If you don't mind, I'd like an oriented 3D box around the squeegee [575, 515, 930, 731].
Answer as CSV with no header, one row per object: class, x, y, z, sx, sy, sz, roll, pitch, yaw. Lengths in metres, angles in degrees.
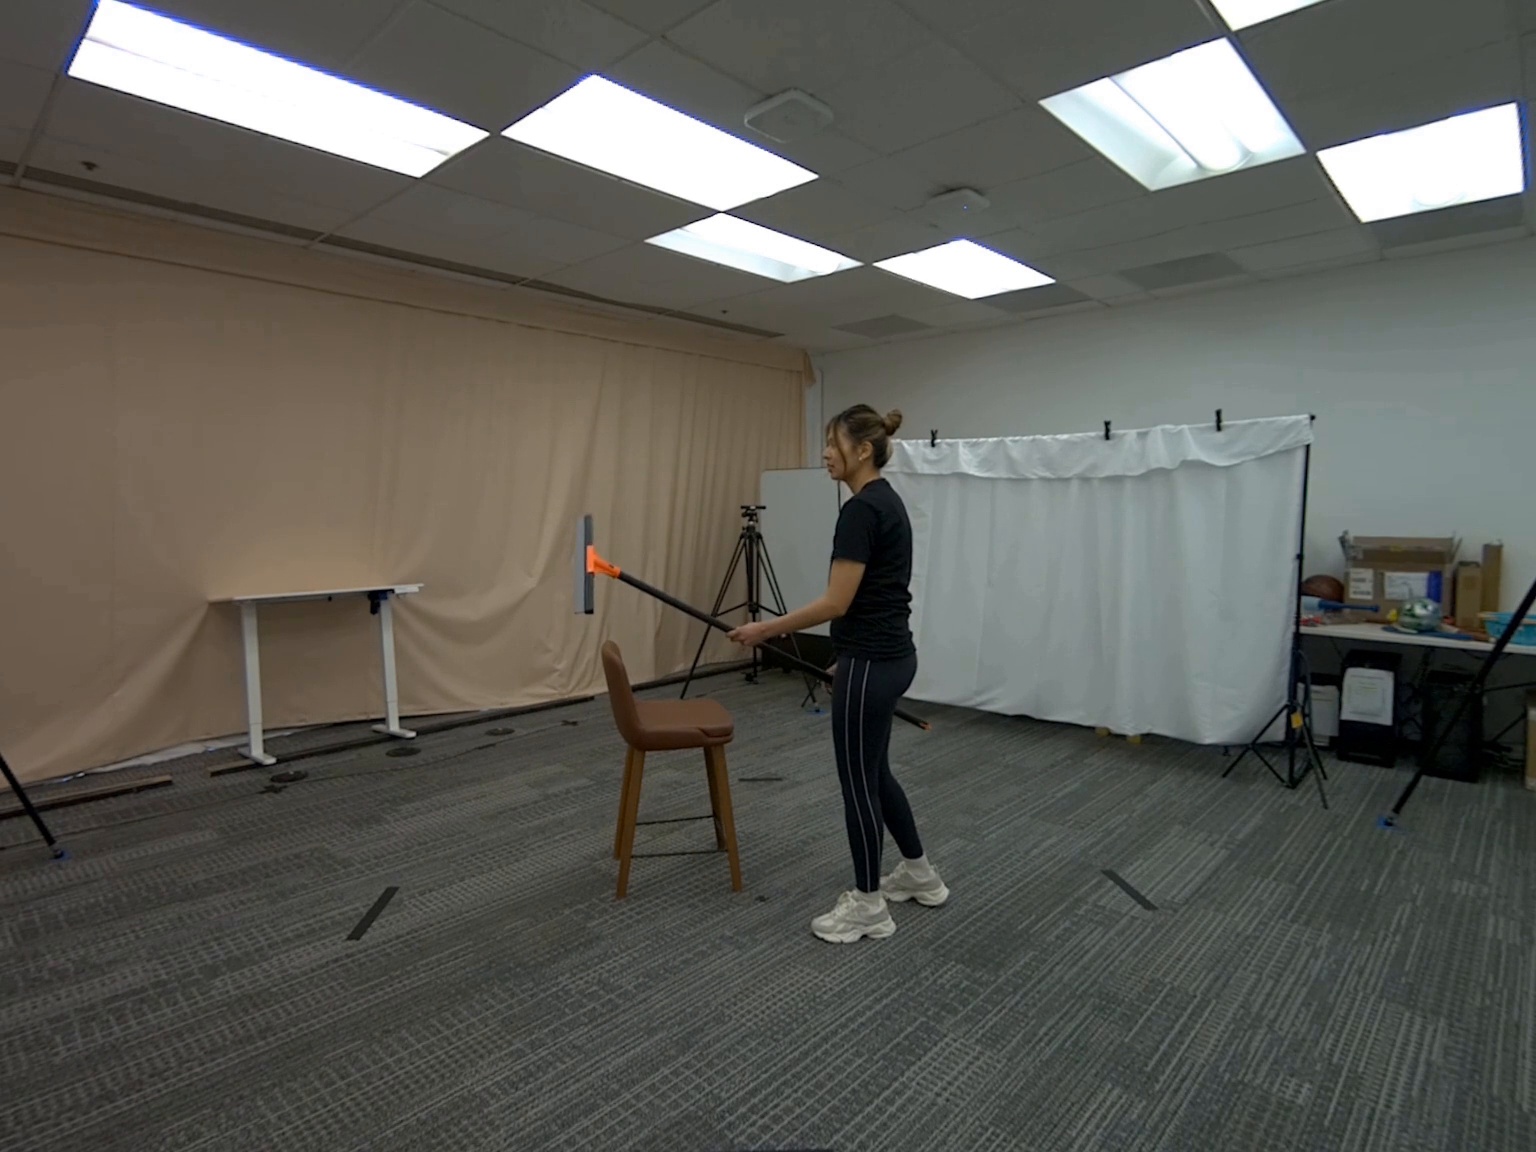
squeegee,0.028,0.258,2.825,1.491,0.053,0.448,28,29,-28
